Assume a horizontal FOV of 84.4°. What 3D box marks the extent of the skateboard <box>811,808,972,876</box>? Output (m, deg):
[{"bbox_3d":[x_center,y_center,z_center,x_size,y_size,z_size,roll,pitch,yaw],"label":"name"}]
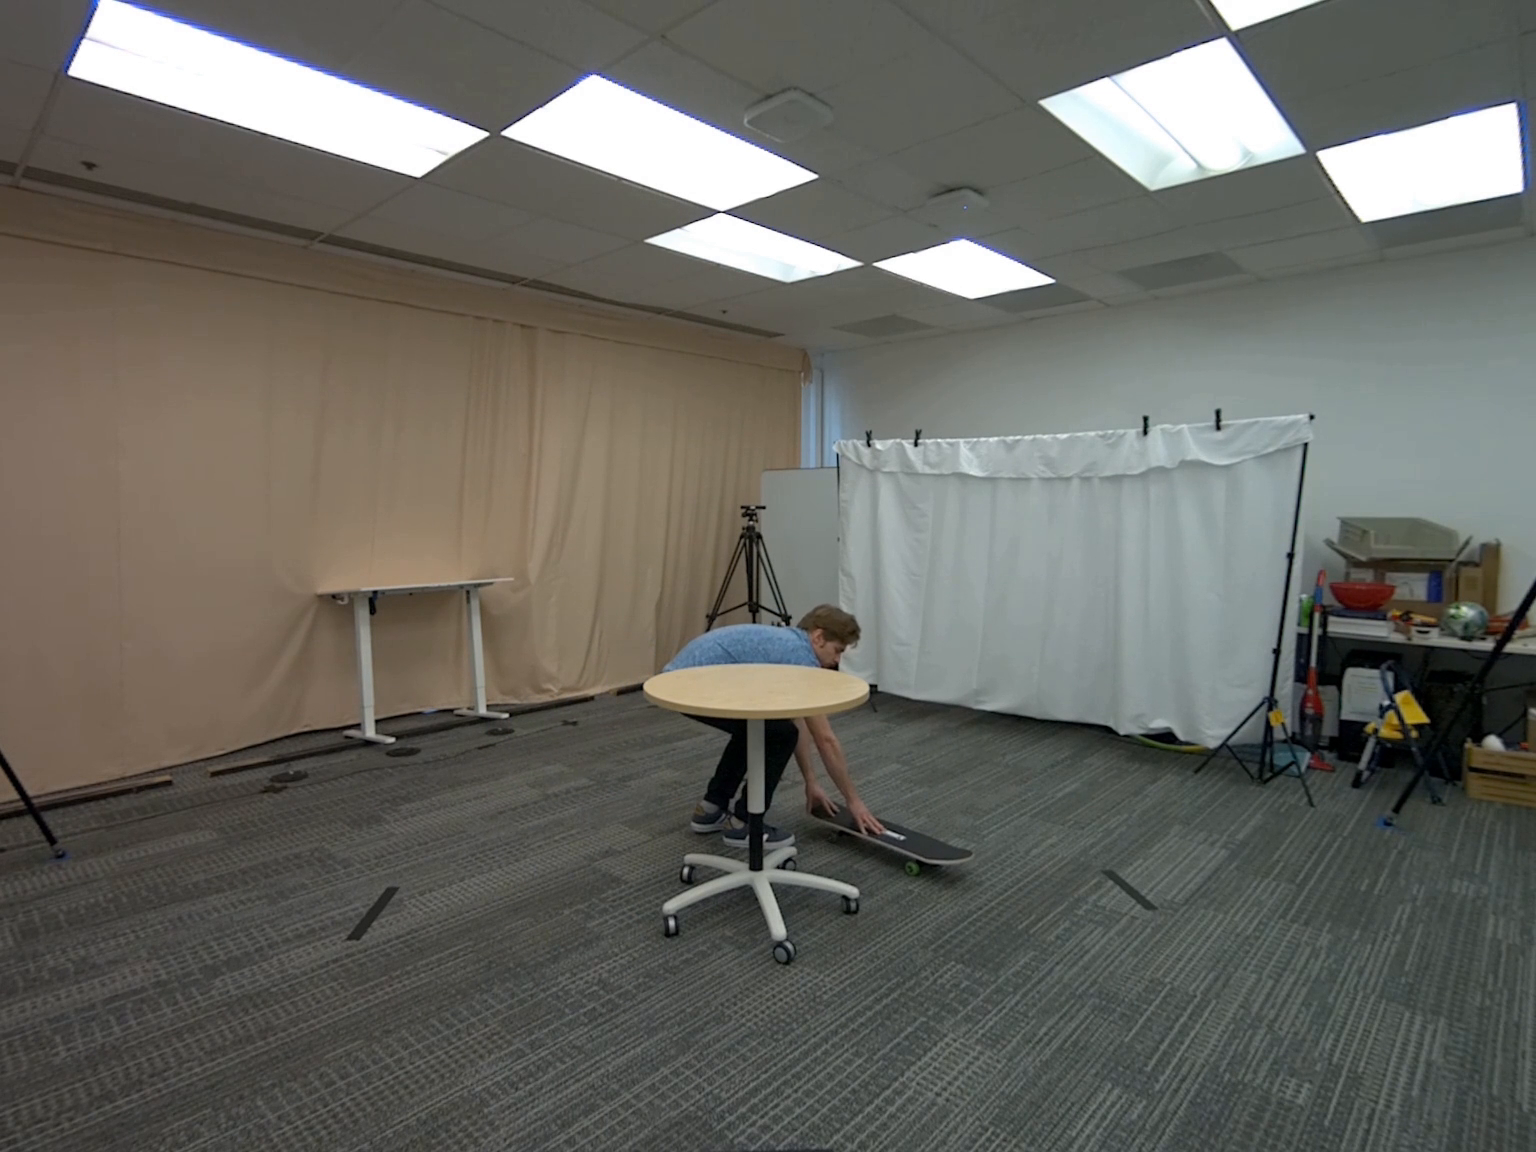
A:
[{"bbox_3d":[0.469,1.057,3.379,0.187,0.110,0.811,-4,5,-41],"label":"skateboard"}]
